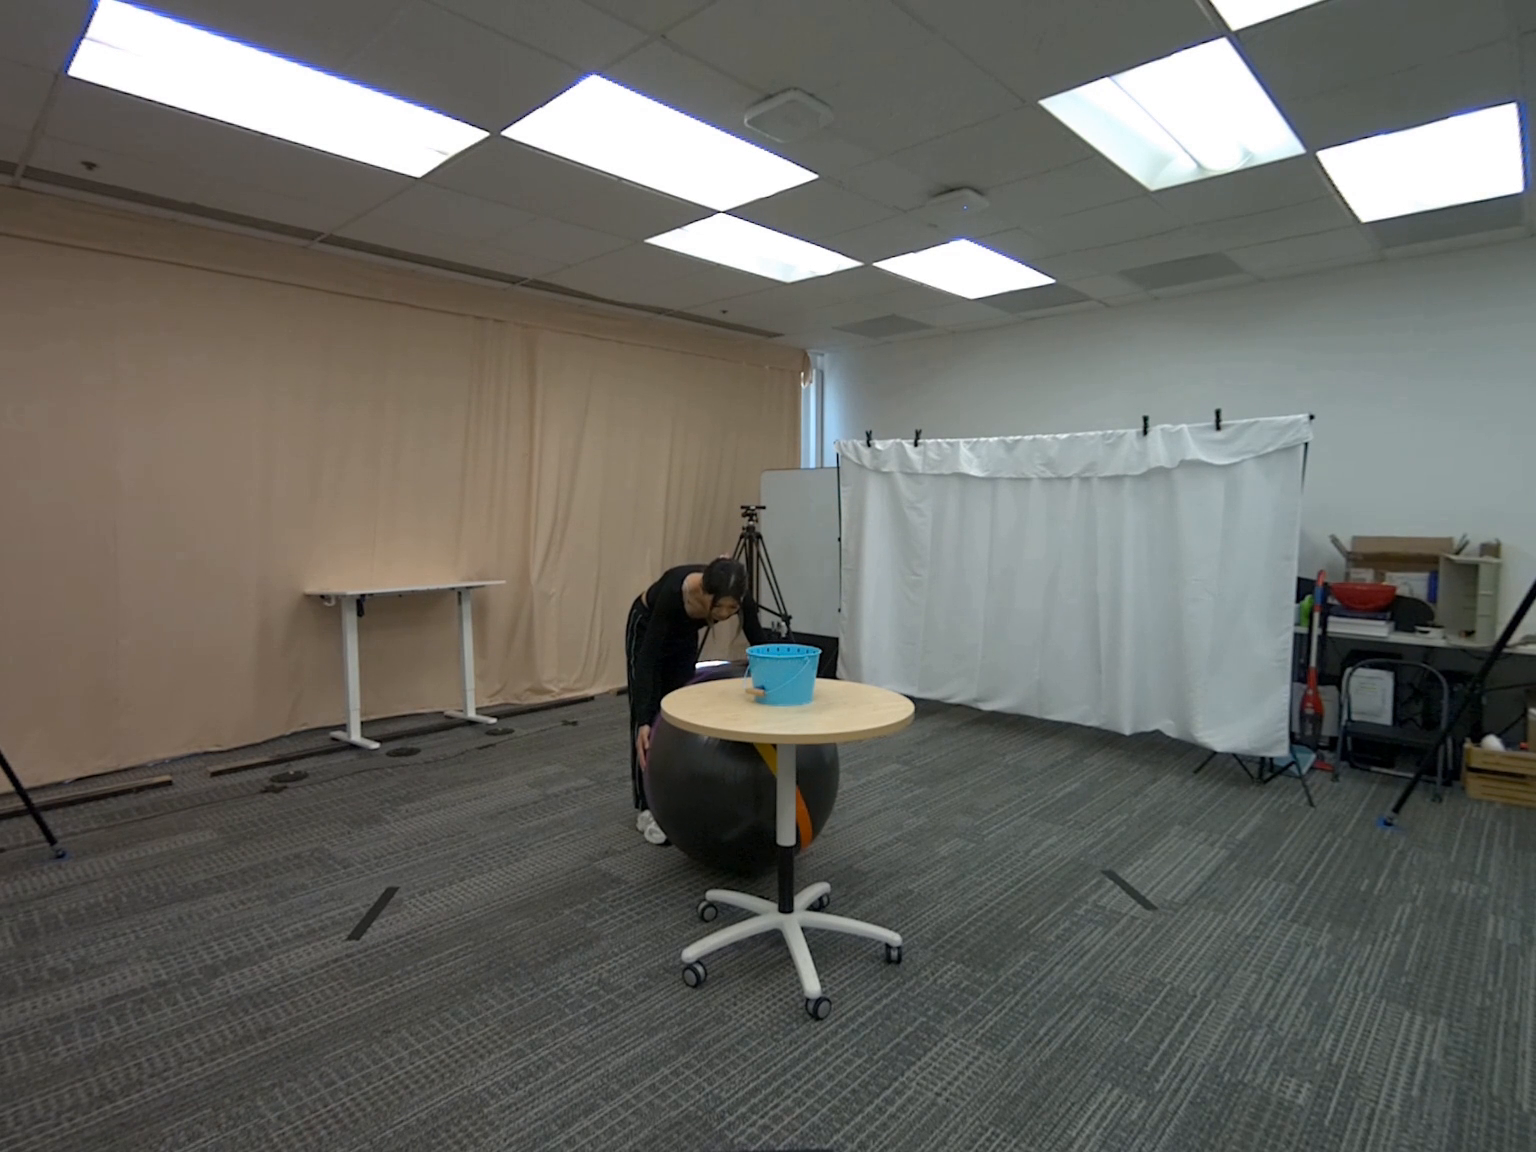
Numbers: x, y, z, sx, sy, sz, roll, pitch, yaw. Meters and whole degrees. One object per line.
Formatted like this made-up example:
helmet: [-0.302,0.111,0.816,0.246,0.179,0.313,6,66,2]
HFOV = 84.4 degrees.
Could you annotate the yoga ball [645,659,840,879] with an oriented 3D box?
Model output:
yoga ball: [-0.106,0.736,3.240,0.757,0.756,0.760,0,4,-2]
